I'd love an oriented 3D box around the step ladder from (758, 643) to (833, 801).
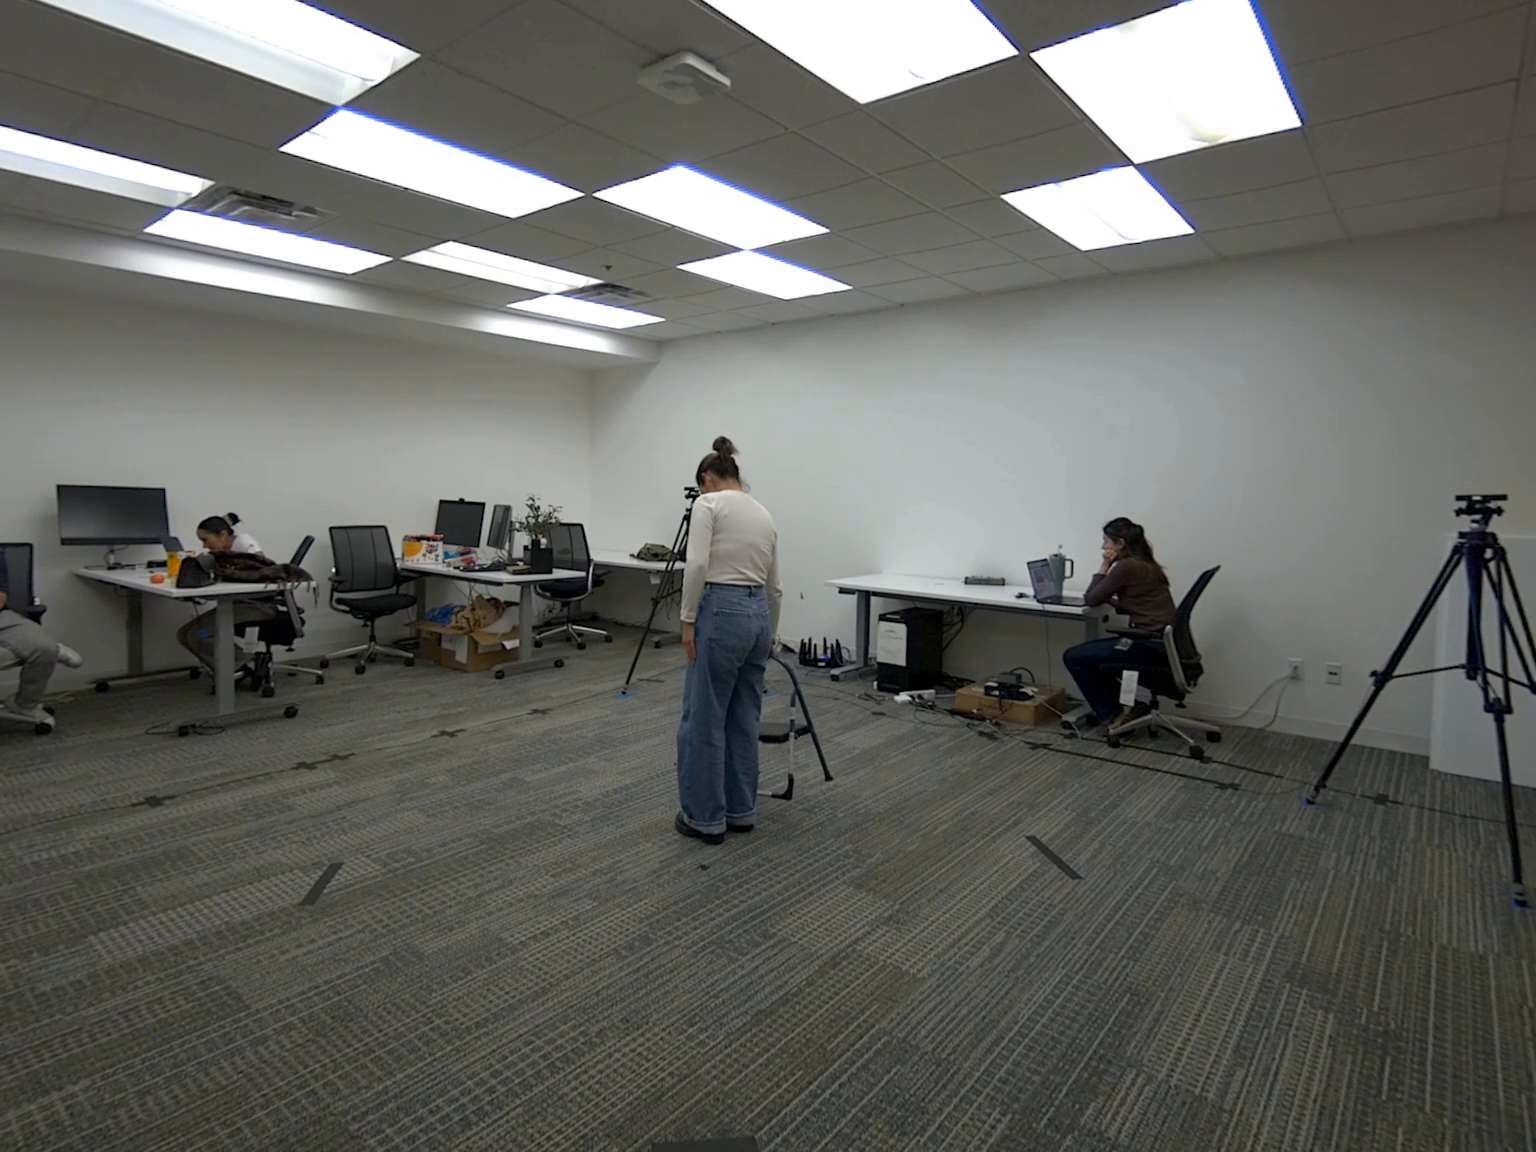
[{"bbox_3d":[-0.014,0.626,3.762,0.442,0.607,0.339,-7,-1,37],"label":"step ladder"}]
